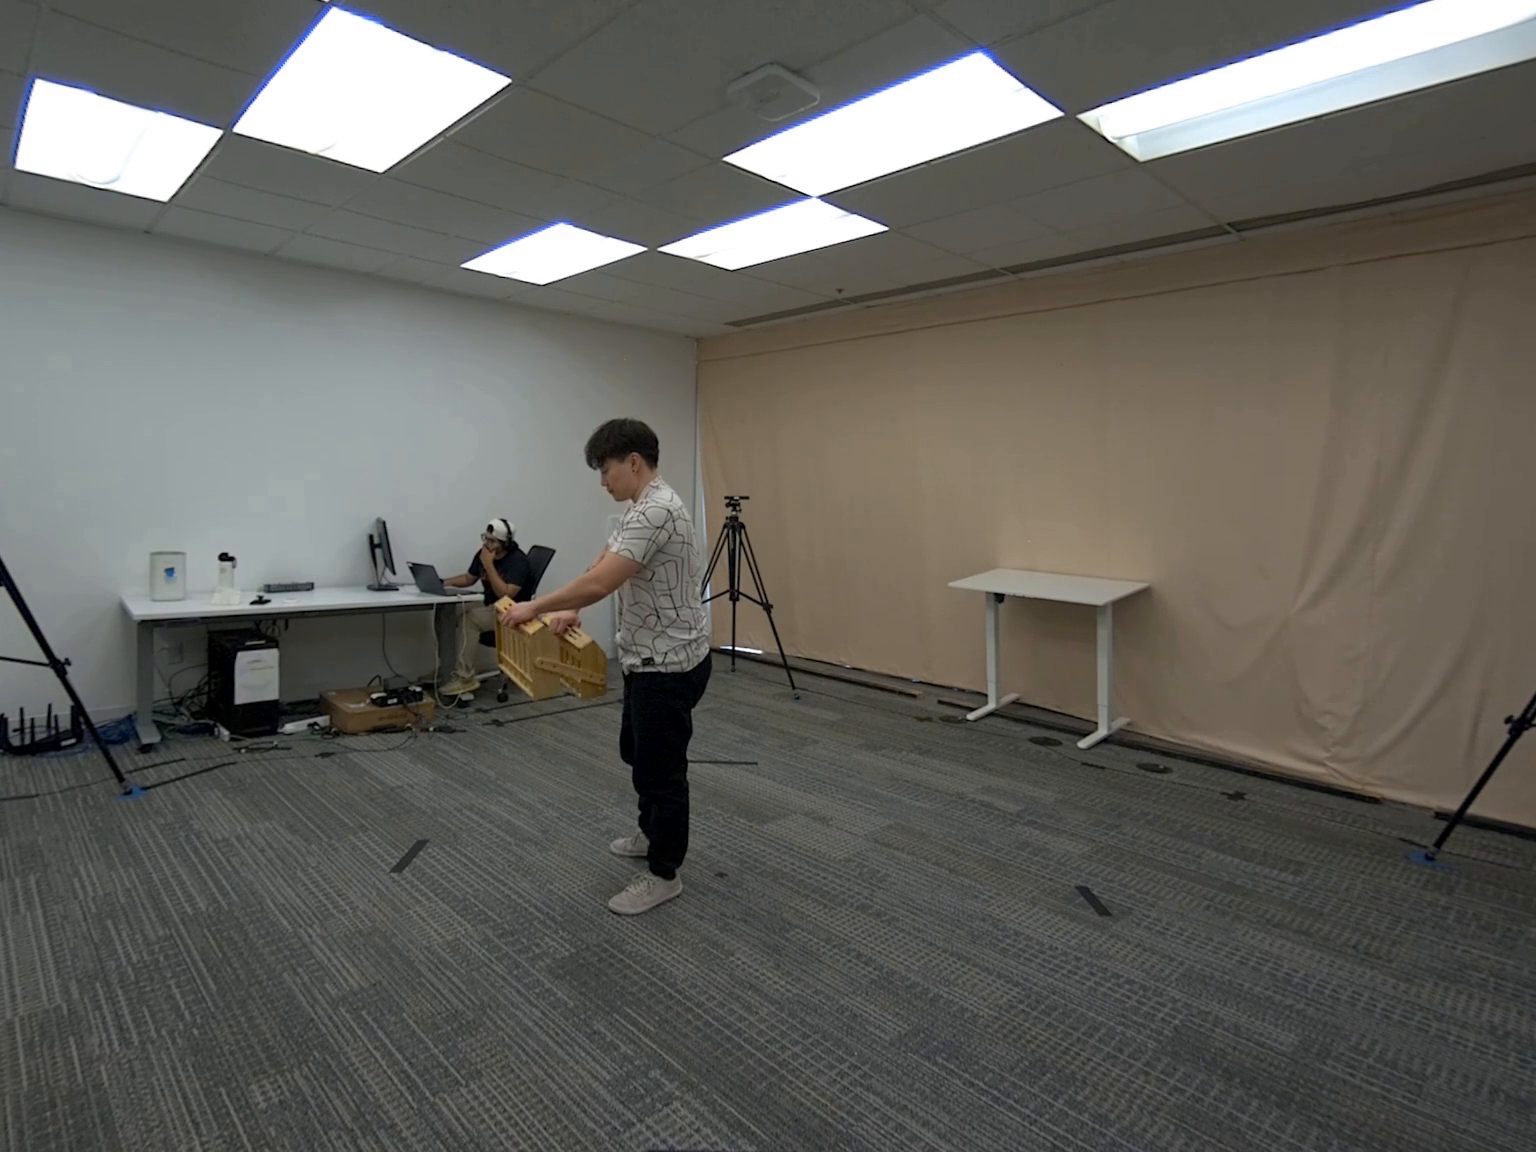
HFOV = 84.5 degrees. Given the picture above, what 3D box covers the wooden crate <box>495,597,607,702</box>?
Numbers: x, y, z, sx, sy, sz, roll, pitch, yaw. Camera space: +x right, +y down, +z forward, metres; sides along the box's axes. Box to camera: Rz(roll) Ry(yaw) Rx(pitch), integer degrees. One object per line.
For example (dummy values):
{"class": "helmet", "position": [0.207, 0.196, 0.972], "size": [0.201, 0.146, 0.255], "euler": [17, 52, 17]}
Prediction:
{"class": "wooden crate", "position": [-0.730, 0.228, 2.824], "size": [0.268, 0.298, 0.334], "euler": [-11, 23, -36]}
